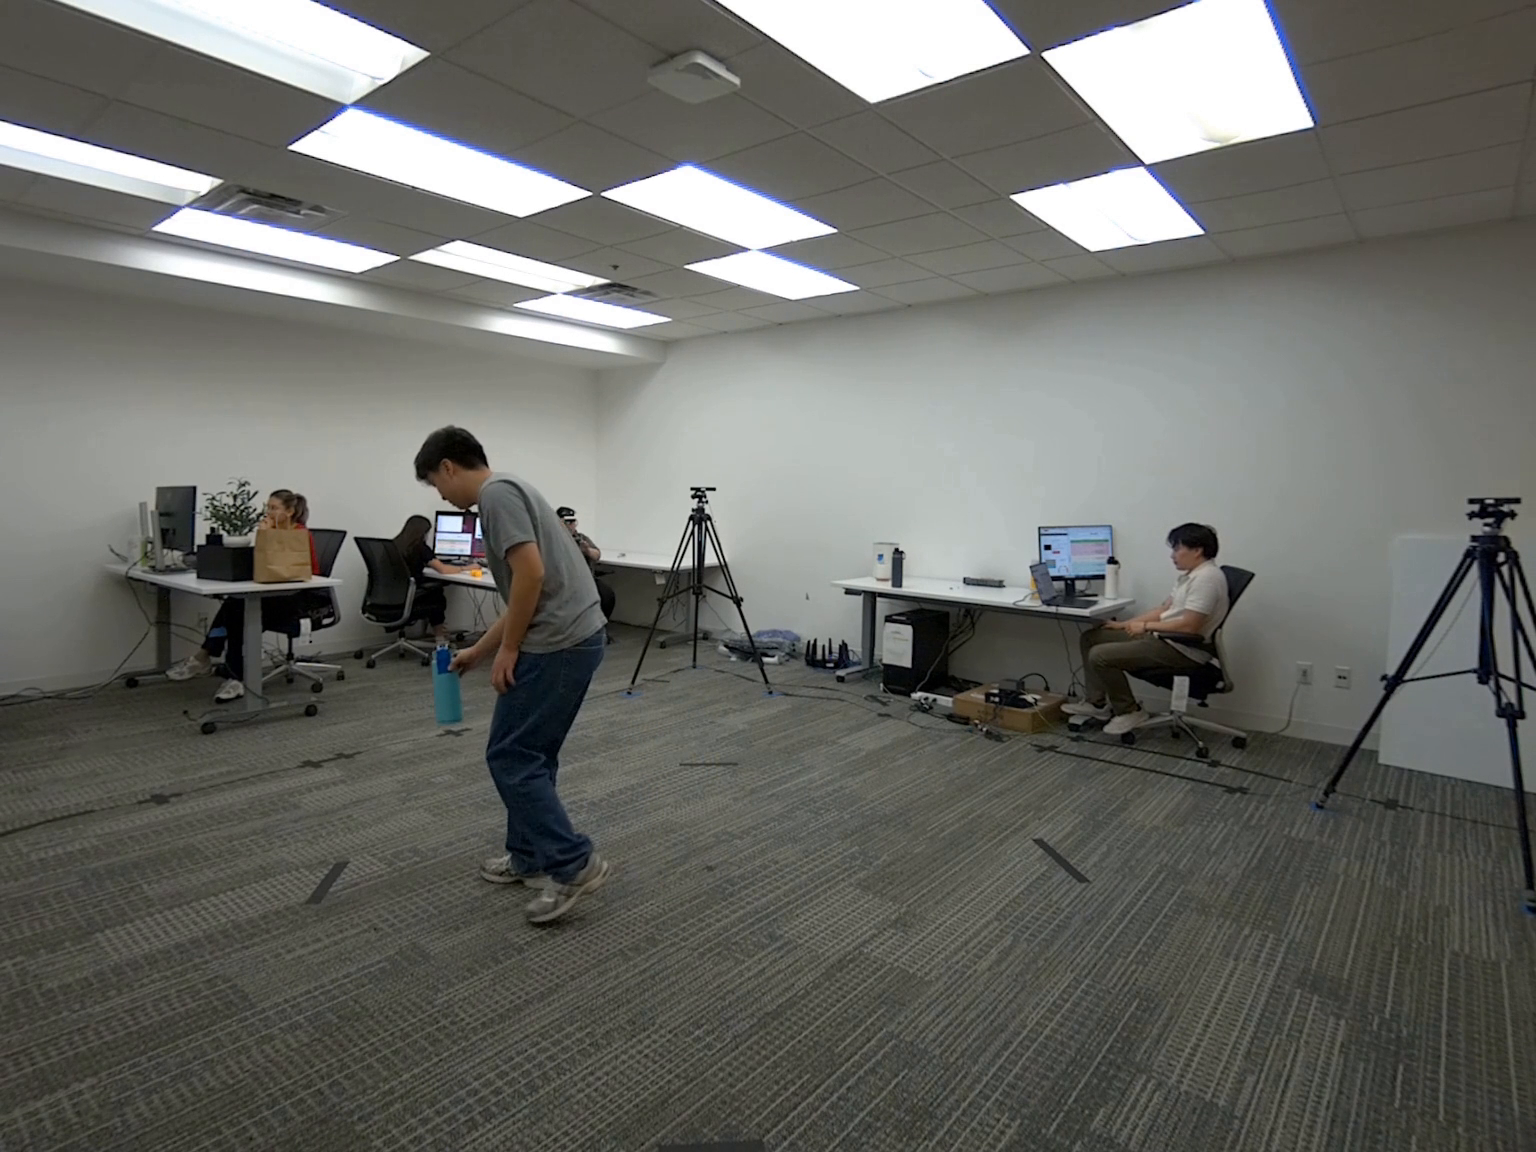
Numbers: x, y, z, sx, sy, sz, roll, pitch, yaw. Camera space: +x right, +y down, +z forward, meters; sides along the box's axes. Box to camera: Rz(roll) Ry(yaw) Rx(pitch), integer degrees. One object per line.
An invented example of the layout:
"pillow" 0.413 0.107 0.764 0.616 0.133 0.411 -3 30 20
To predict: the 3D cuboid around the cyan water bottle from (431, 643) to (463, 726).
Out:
"cyan water bottle" -1.149 0.384 3.002 0.092 0.283 0.092 -10 0 -2
